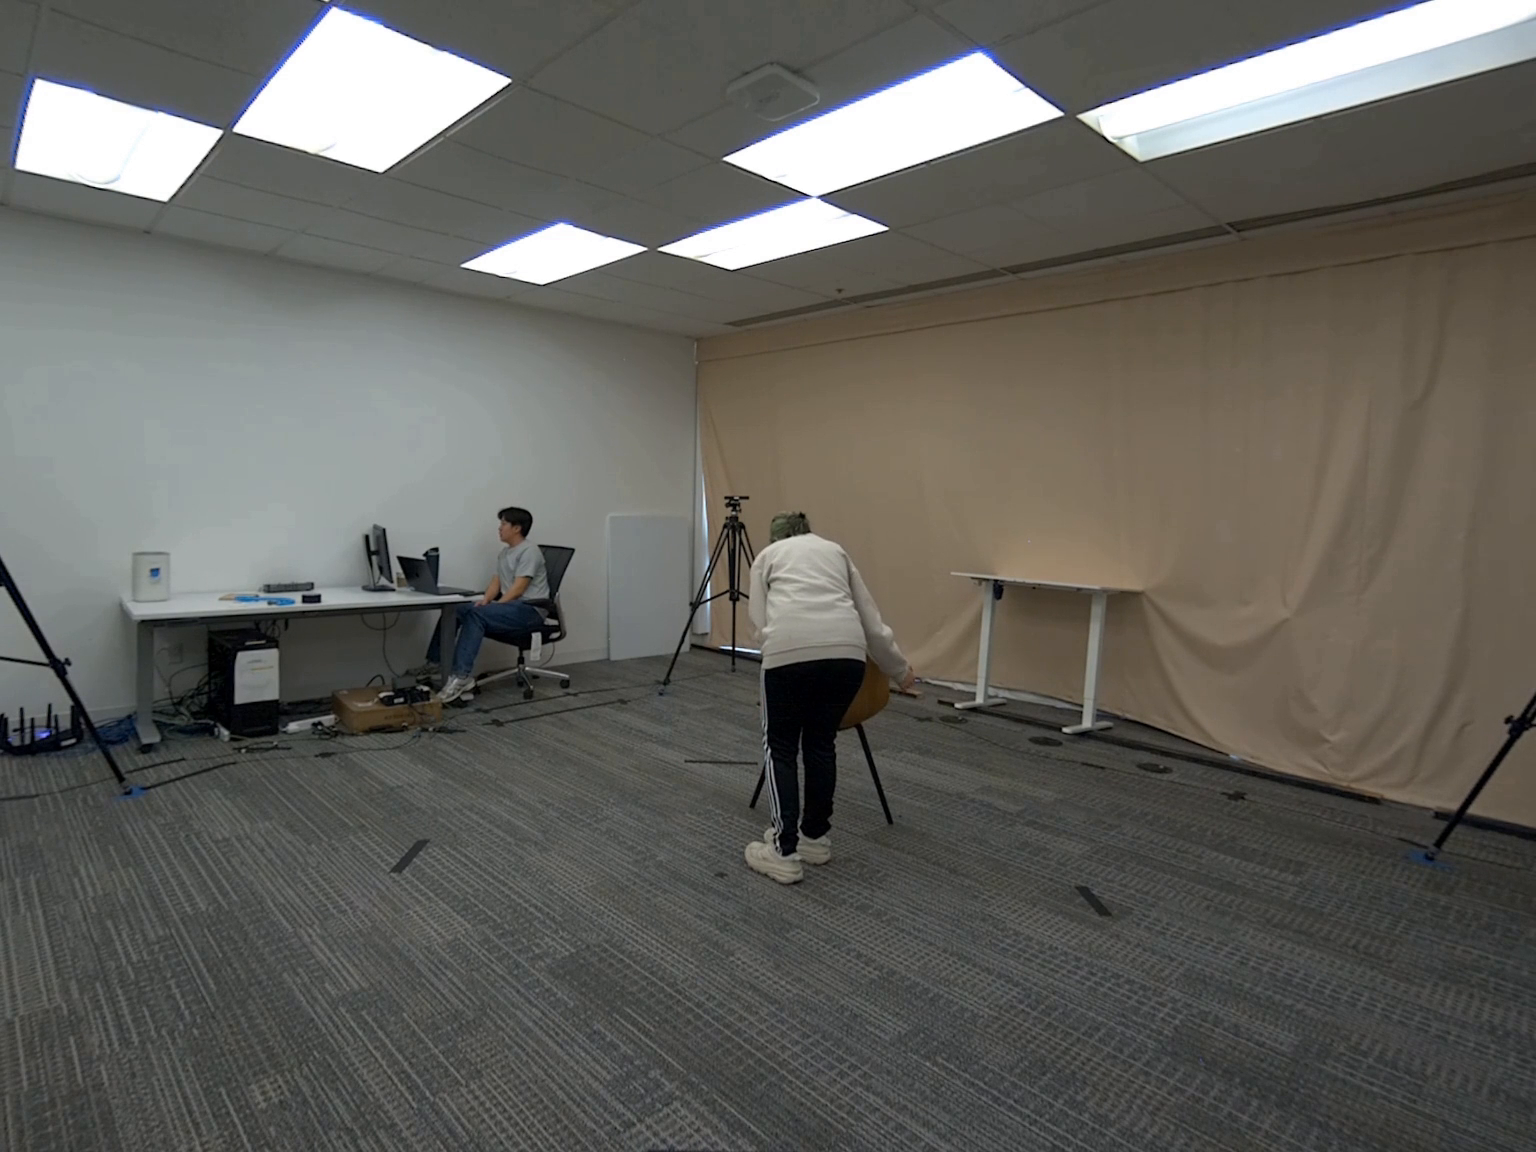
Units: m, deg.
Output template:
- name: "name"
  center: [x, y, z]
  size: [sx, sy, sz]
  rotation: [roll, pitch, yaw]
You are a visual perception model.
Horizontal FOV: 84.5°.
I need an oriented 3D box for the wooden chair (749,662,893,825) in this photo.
- name: "wooden chair"
  center: [0.229, 0.636, 3.697]
  size: [0.468, 0.873, 0.537]
  rotation: [0, 7, -33]
